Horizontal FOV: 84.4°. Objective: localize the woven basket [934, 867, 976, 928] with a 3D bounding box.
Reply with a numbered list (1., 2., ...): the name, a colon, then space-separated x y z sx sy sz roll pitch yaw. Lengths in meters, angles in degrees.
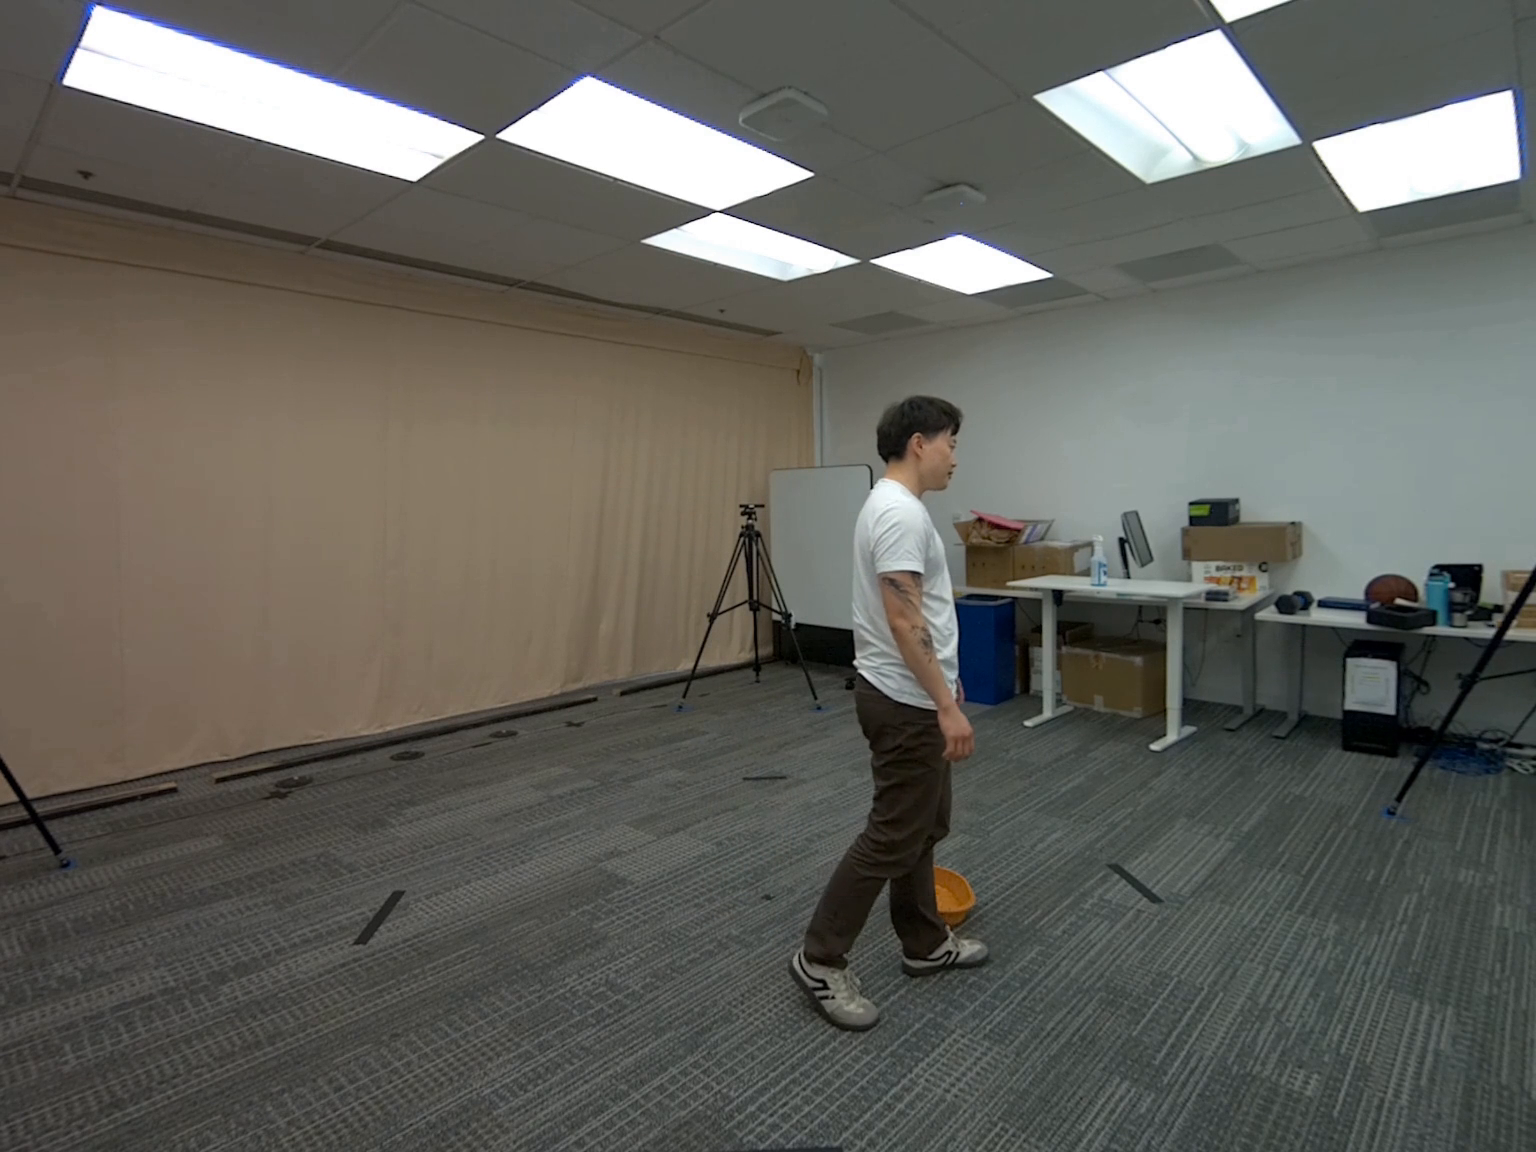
1. woven basket: 0.571 1.098 2.890 0.253 0.073 0.350 0 5 3
